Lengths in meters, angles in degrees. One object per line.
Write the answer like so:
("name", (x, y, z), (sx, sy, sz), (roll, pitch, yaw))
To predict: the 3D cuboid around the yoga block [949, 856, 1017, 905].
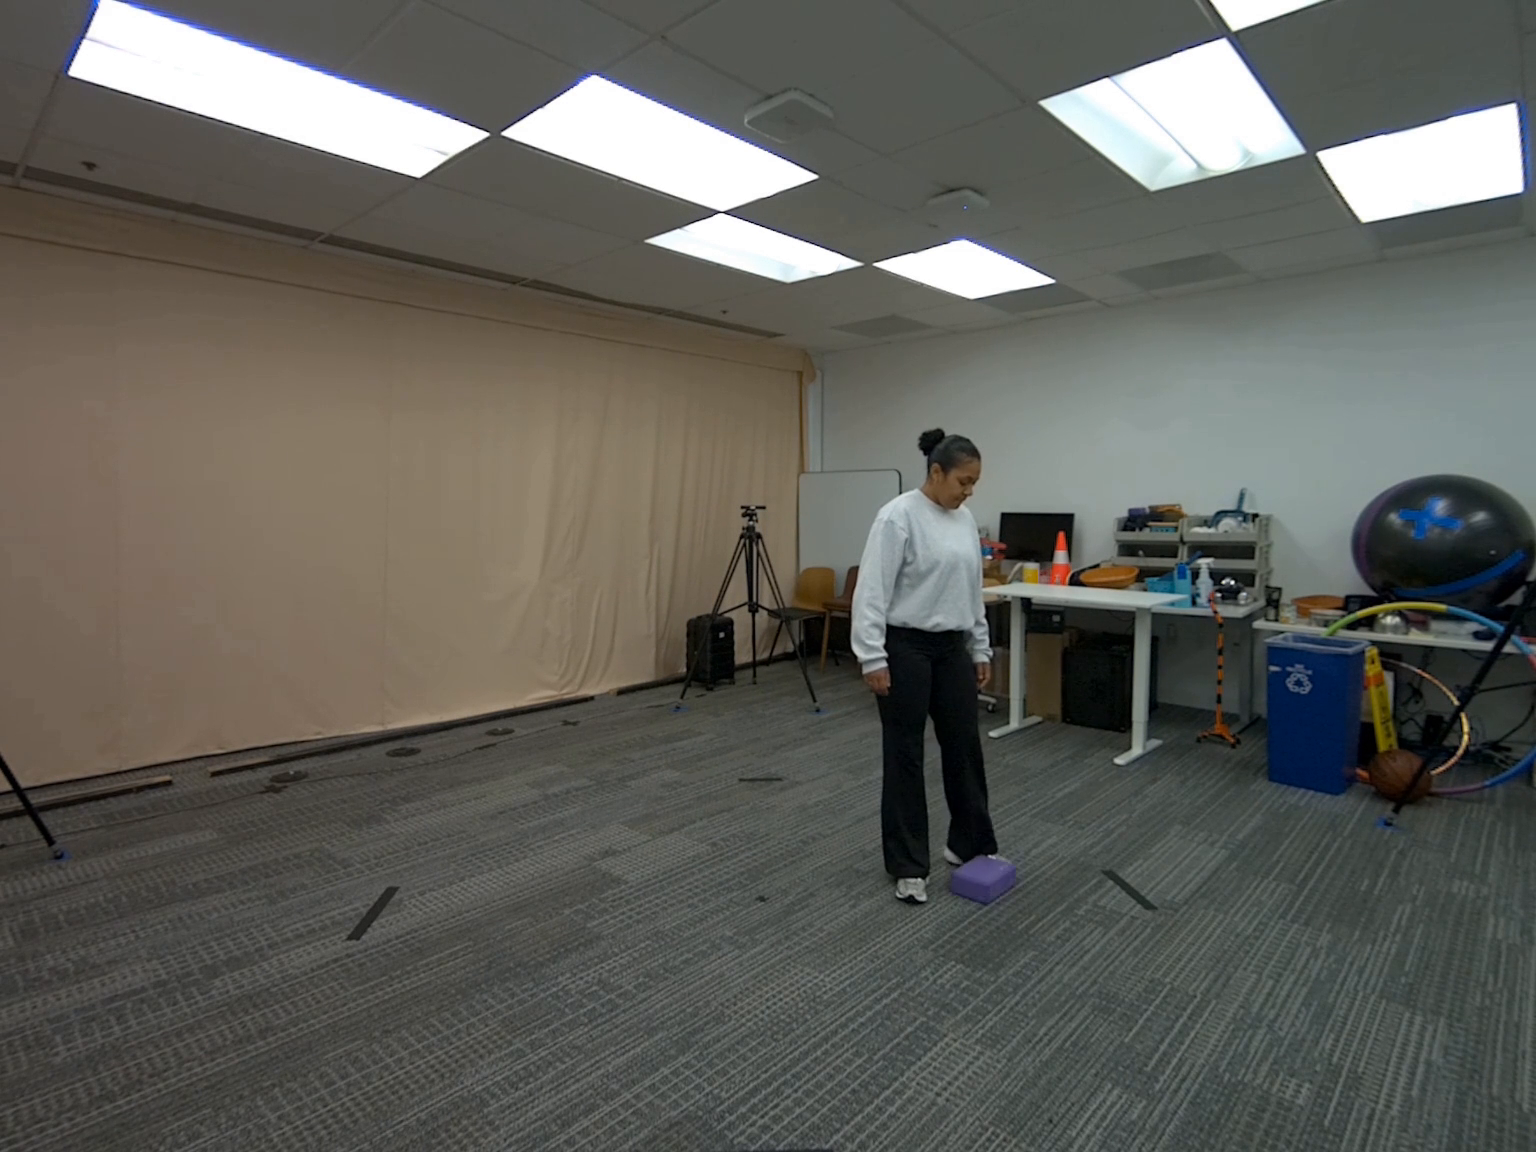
("yoga block", (0.772, 1.092, 3.044), (0.154, 0.076, 0.222), (3, 5, 41))
